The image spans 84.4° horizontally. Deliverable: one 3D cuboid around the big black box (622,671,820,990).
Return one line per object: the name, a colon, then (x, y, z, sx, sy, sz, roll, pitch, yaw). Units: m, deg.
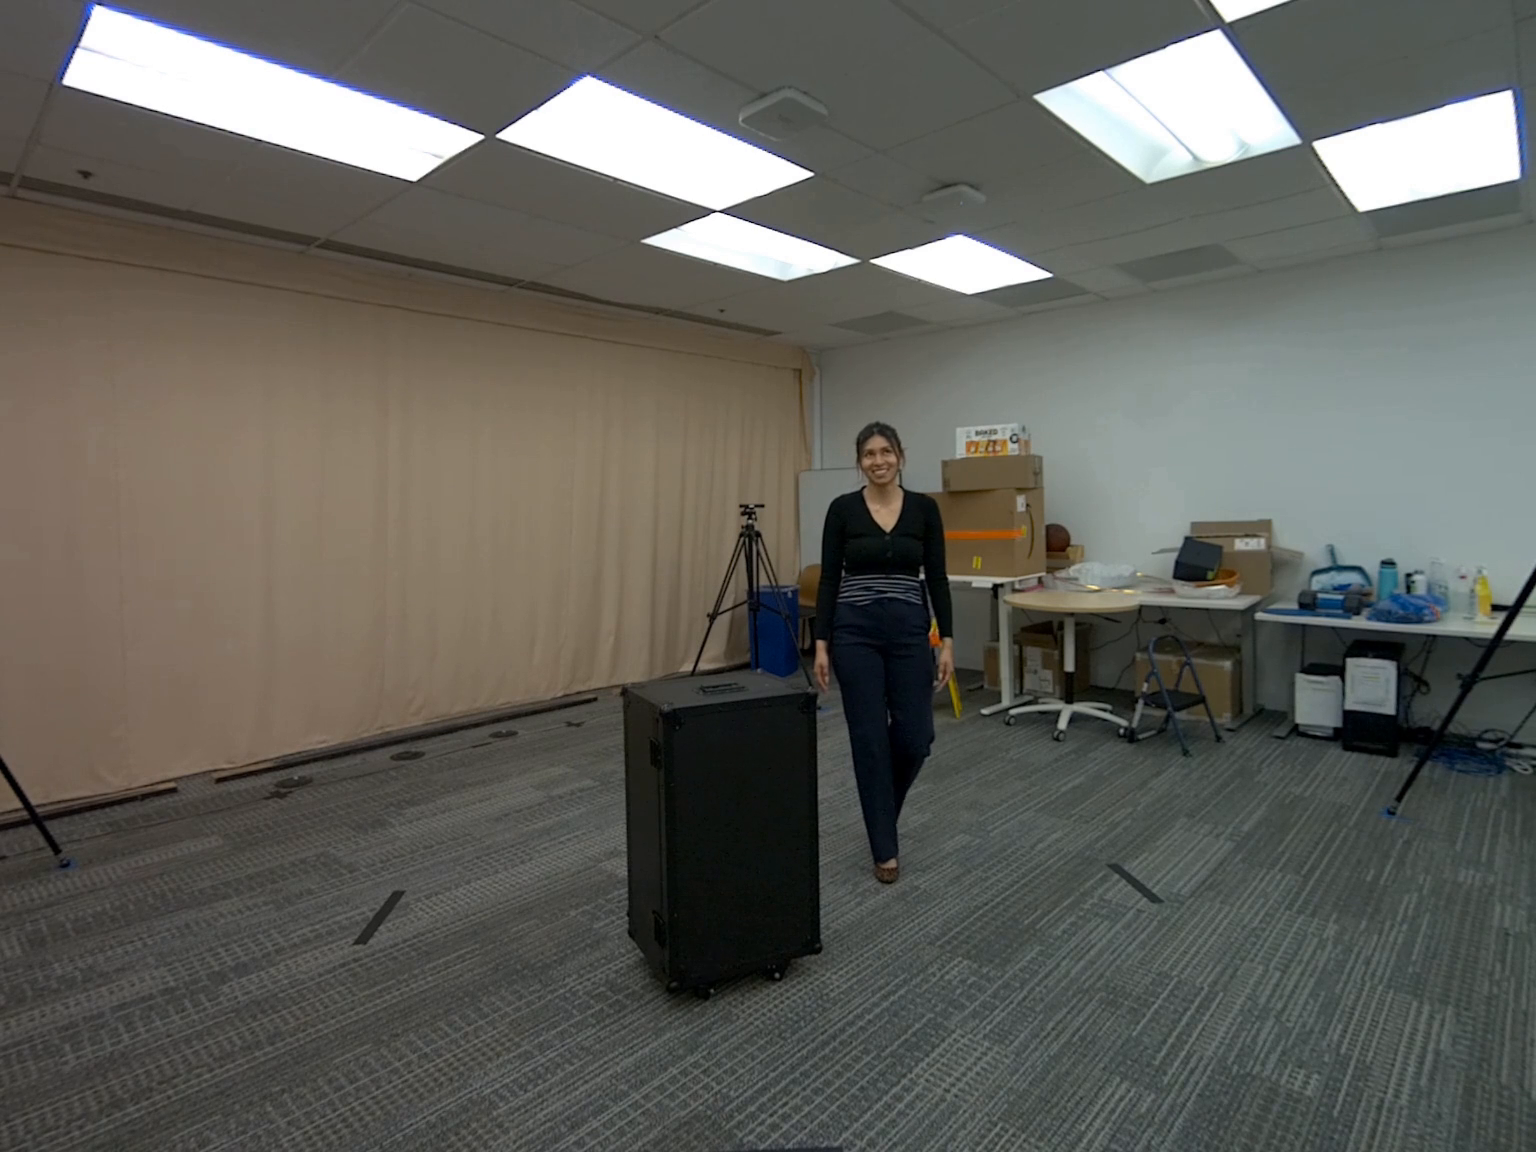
big black box: (-0.150, 0.753, 2.528, 0.509, 0.860, 0.406, -3, 3, -26)
